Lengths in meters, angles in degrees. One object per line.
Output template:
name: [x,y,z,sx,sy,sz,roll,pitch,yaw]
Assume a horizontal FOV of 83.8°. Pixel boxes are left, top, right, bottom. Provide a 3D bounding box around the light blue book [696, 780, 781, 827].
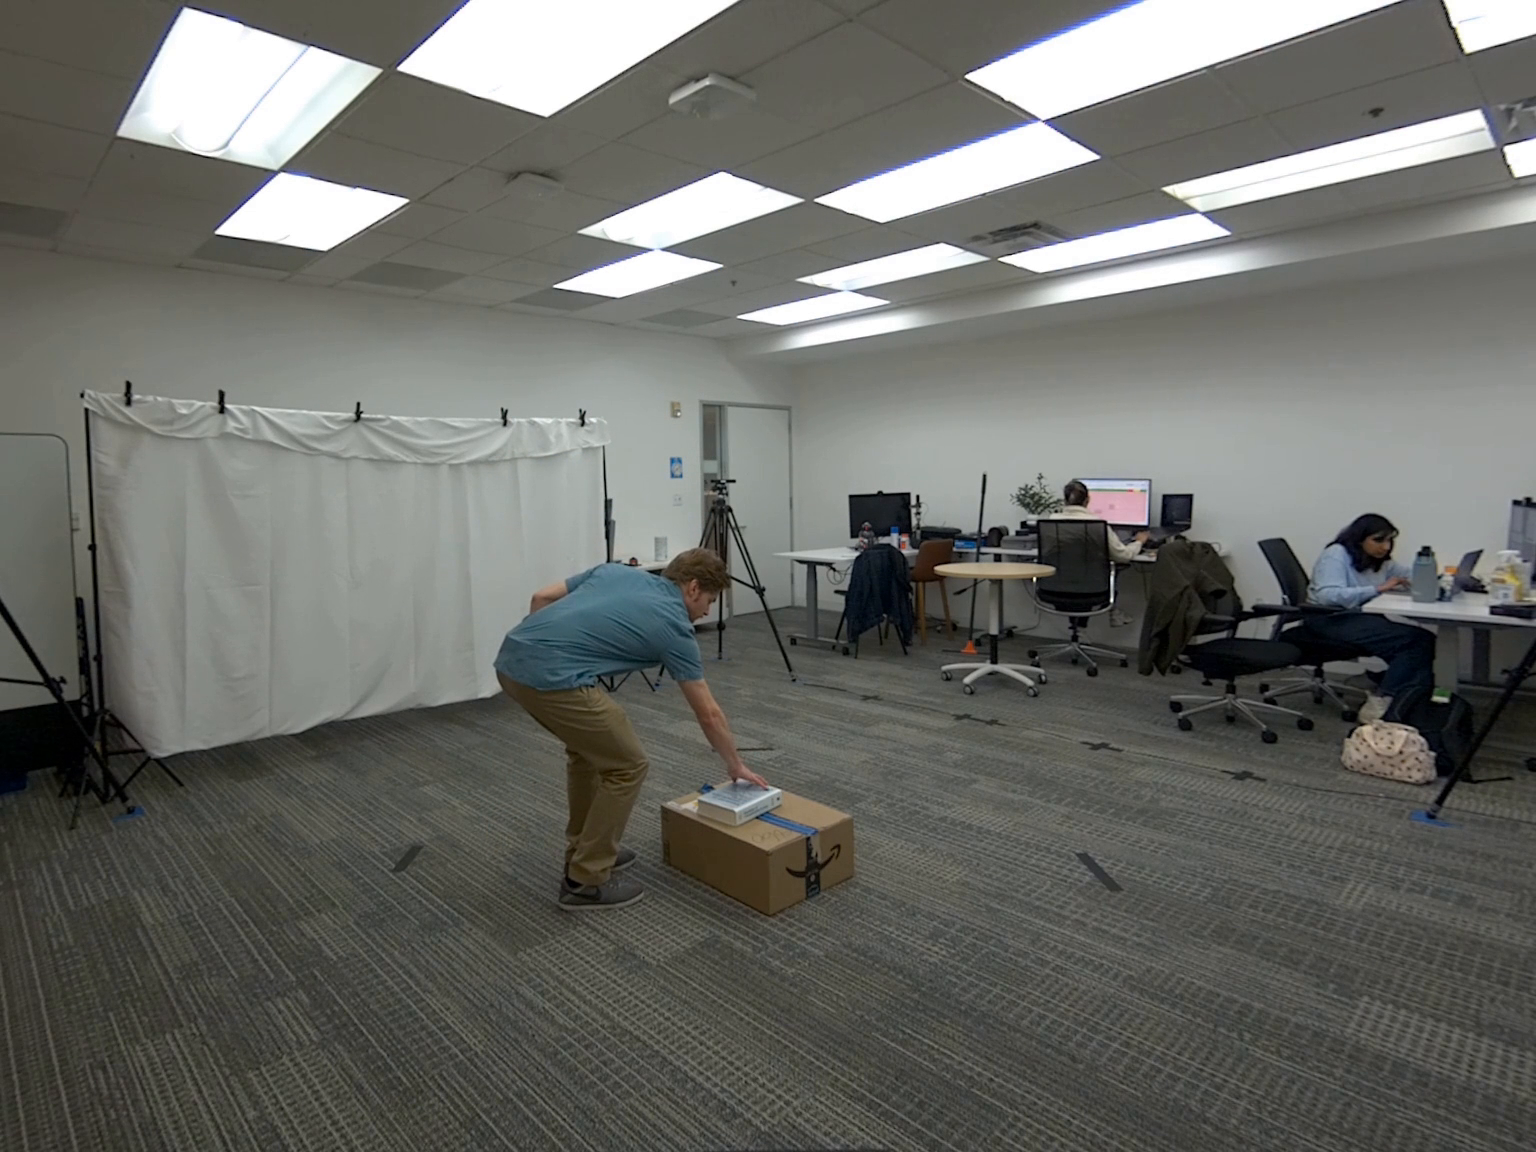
light blue book: [-0.103,0.813,3.083,0.198,0.058,0.254,12,12,37]
